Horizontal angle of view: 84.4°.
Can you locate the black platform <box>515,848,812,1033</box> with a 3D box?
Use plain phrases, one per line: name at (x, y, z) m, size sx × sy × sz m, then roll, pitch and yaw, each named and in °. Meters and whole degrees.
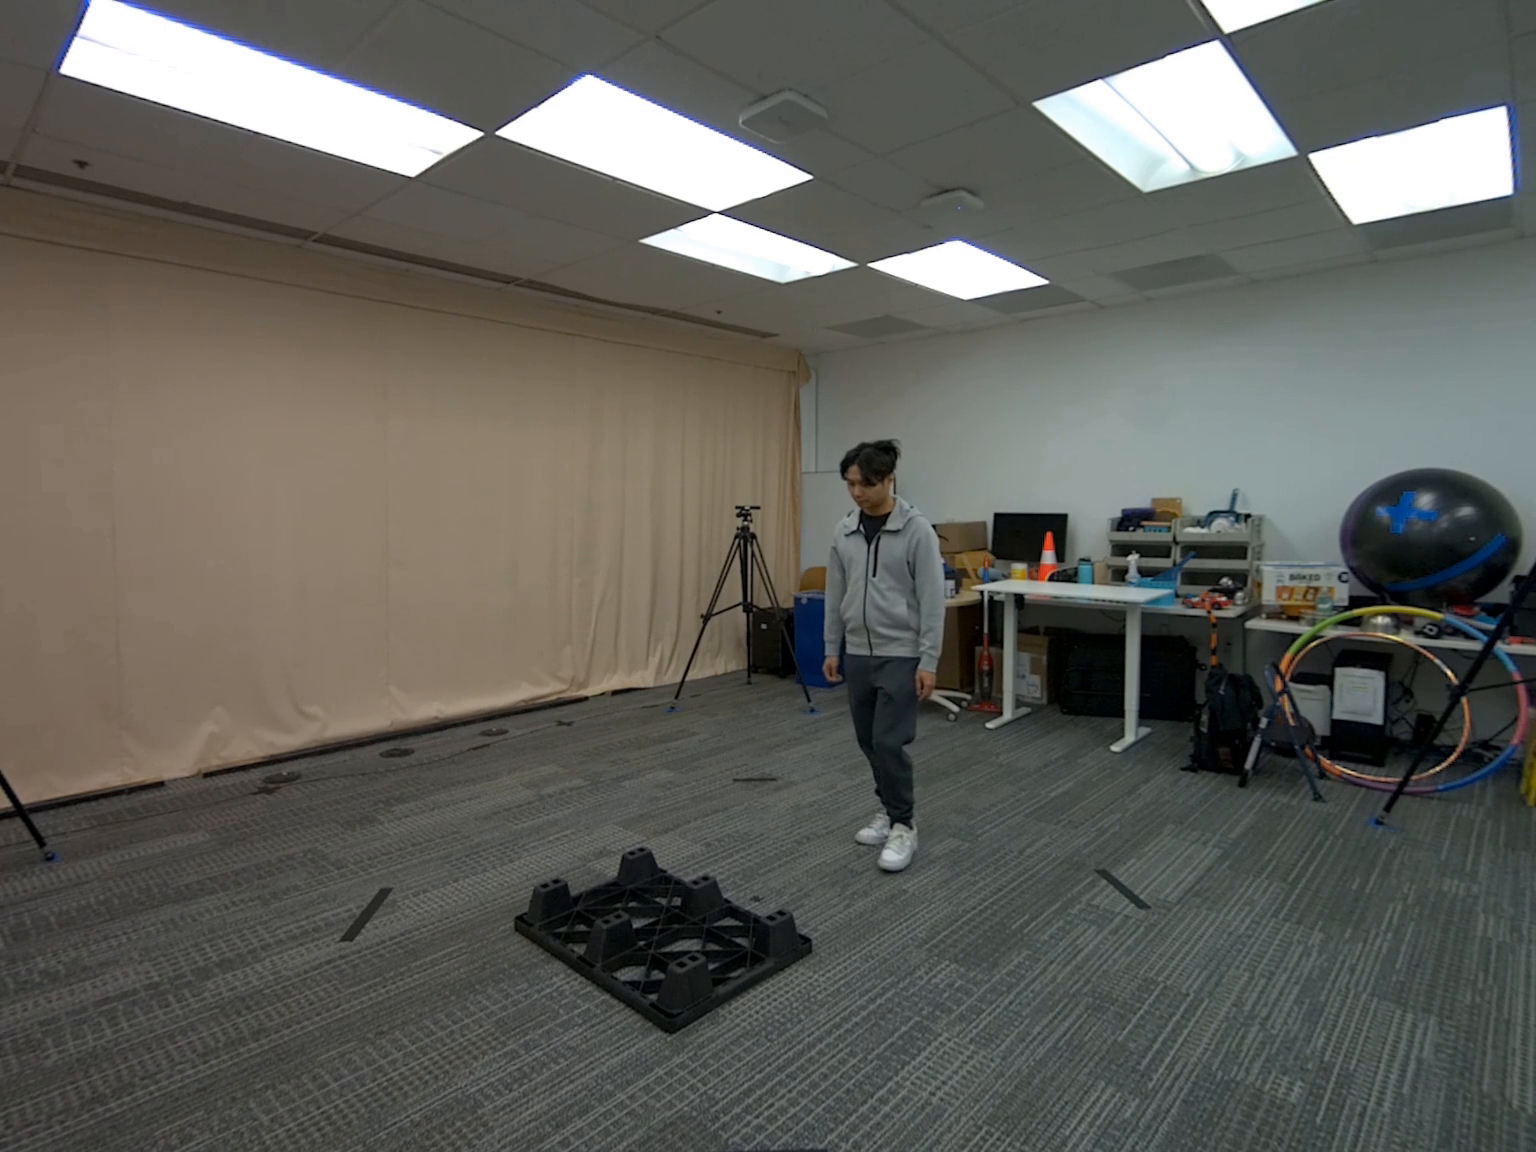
black platform at (-0.342, 1.105, 2.699) m, size 0.833 × 0.143 × 0.587 m, roll 4°, pitch 7°, yaw 43°
